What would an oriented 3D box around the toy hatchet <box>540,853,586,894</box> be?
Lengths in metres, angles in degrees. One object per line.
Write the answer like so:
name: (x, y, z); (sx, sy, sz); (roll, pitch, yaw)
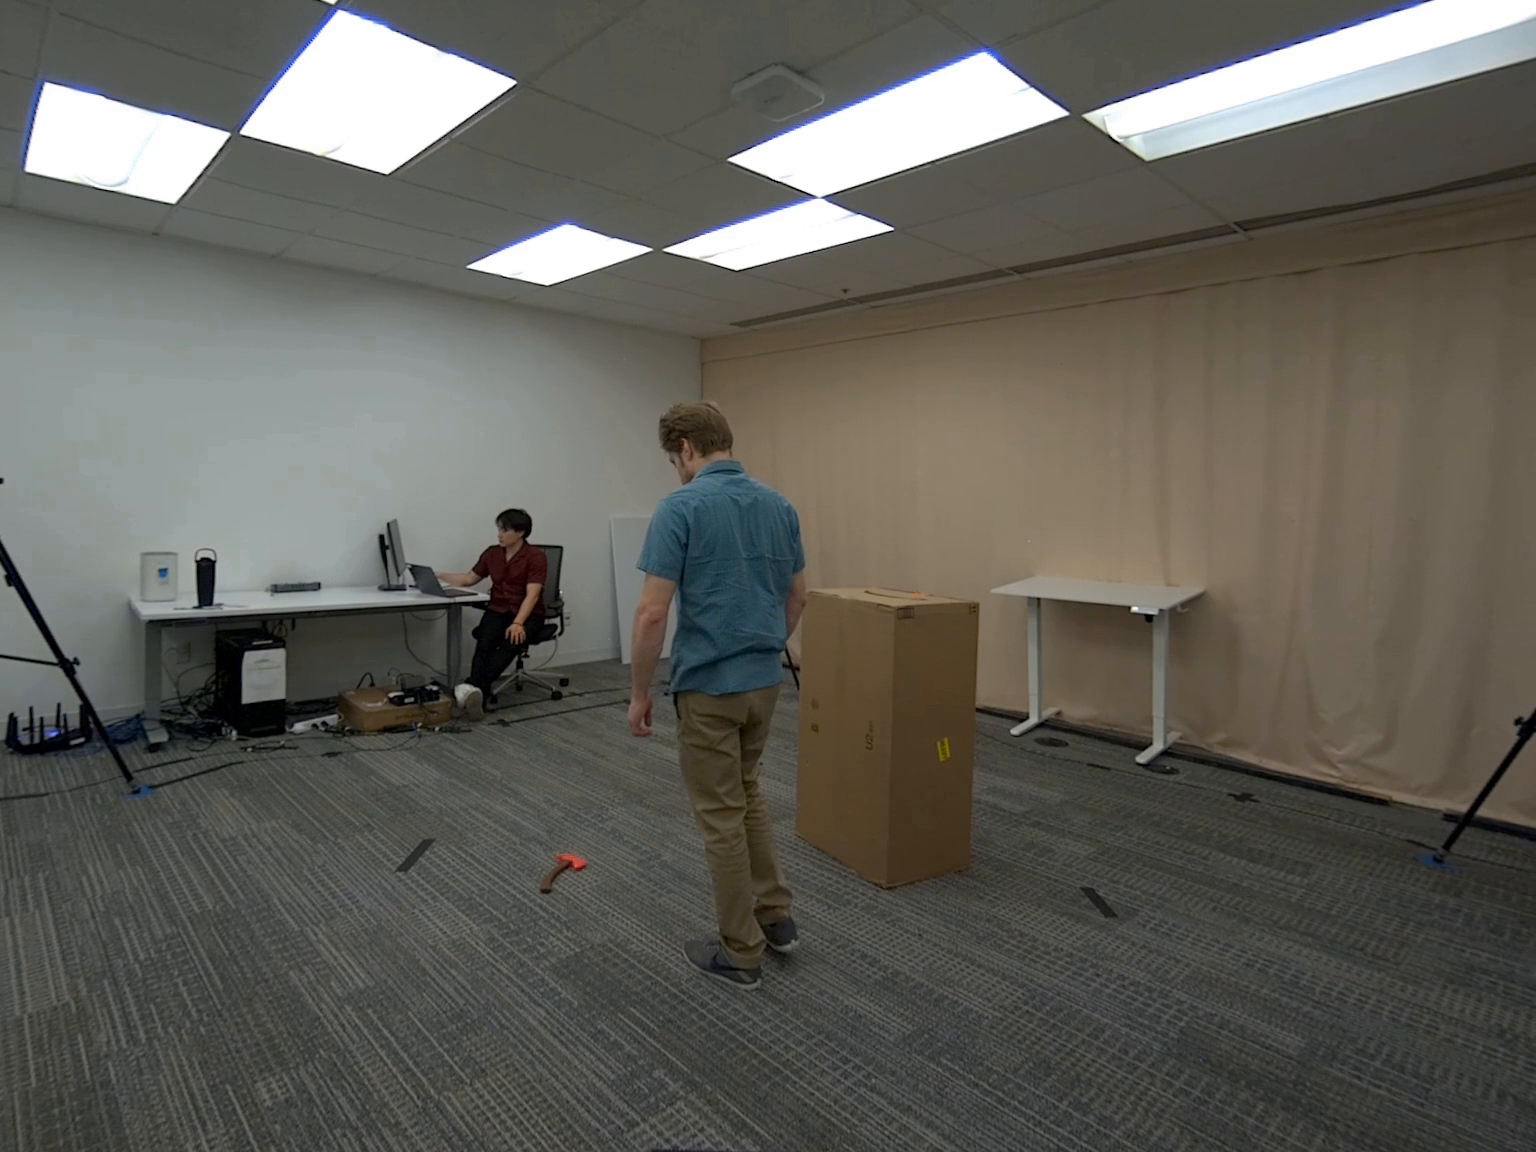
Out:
toy hatchet: (-0.750, 1.086, 3.056); (0.131, 0.029, 0.272); (5, 7, -4)
